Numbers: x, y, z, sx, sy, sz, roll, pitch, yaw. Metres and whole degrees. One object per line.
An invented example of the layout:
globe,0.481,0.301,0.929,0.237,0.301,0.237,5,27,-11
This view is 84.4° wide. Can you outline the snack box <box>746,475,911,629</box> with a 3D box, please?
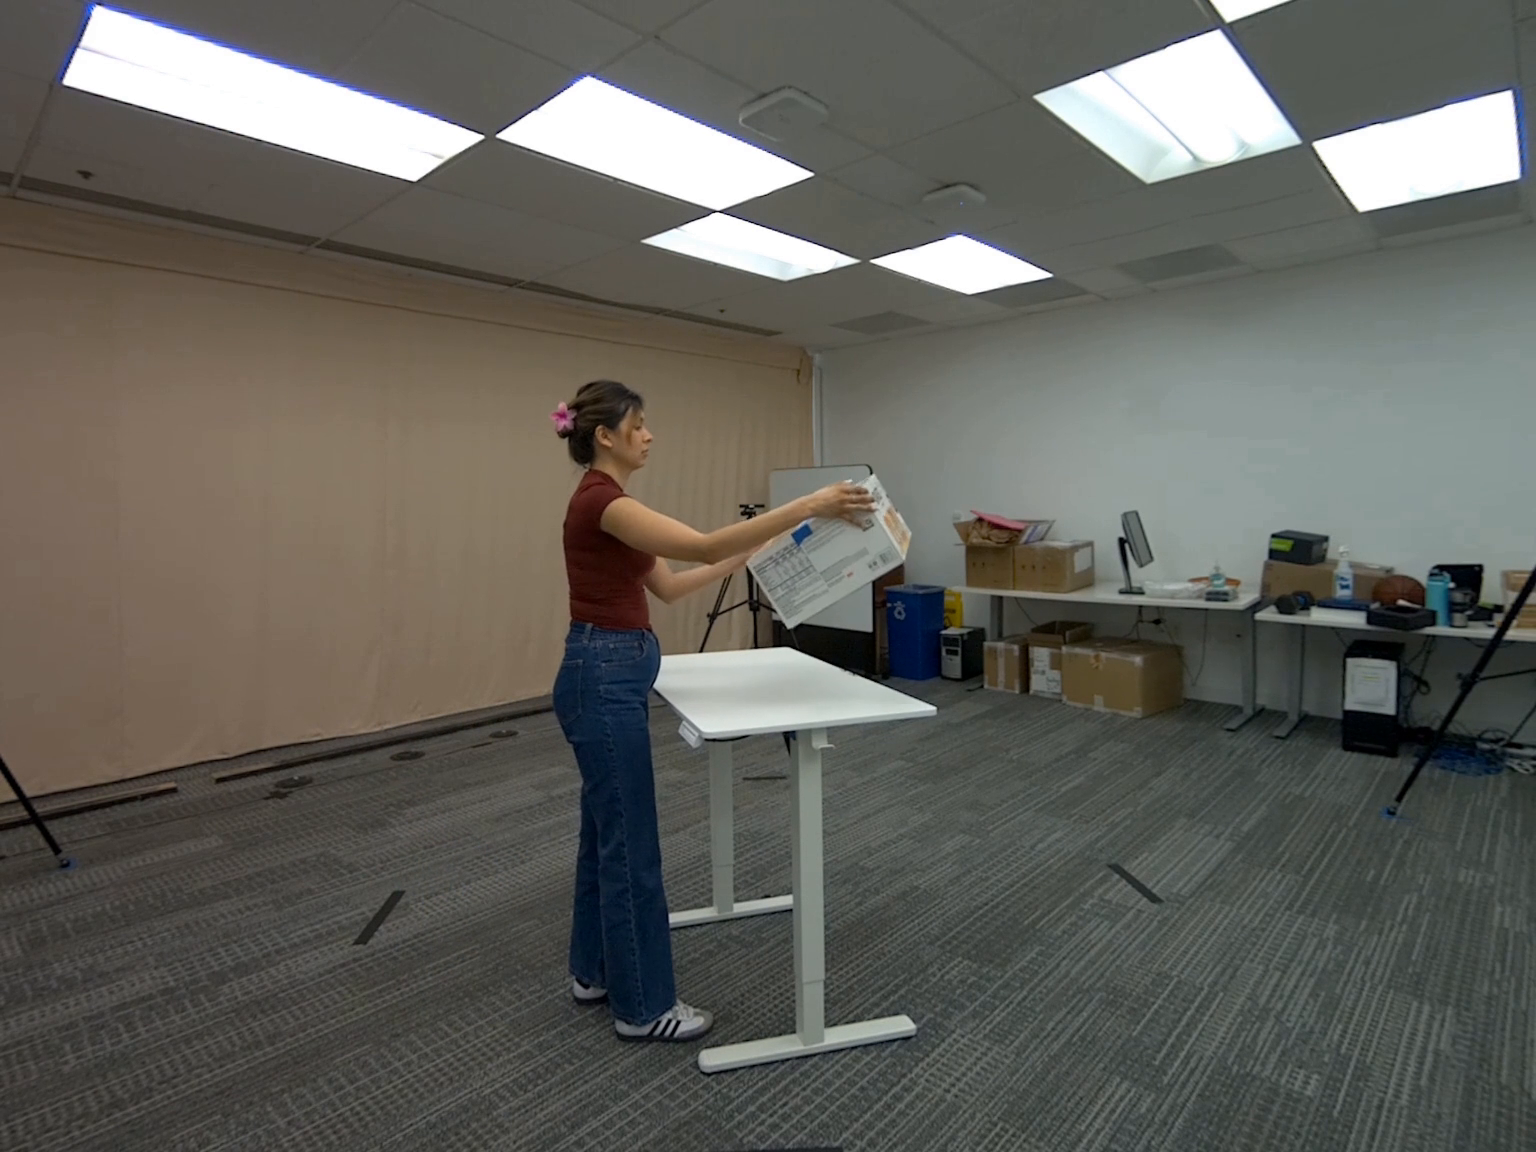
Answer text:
snack box,0.175,-0.075,2.228,0.344,0.205,0.402,-32,4,17
